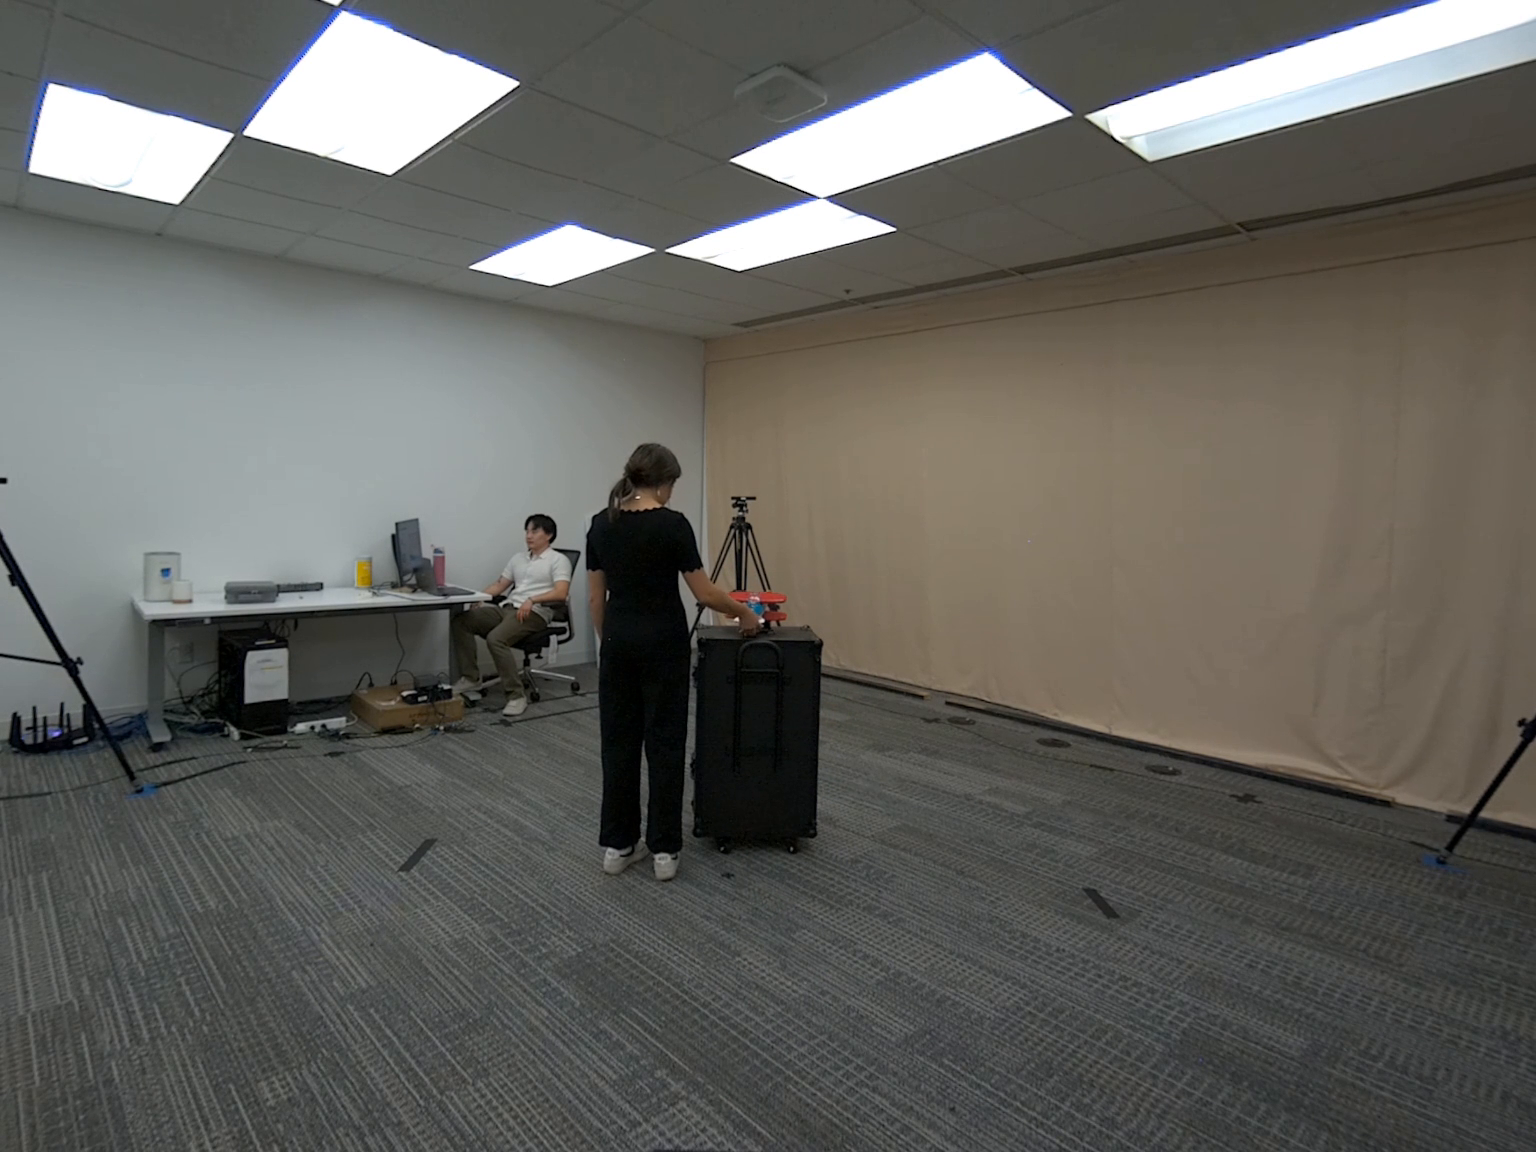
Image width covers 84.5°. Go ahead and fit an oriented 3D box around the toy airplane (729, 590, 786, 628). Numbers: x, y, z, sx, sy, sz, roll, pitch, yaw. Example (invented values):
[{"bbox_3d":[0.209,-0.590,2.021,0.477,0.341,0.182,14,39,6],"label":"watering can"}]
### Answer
[{"bbox_3d":[-0.043,0.149,3.436,0.247,0.156,0.263,0,3,-19],"label":"toy airplane"}]
